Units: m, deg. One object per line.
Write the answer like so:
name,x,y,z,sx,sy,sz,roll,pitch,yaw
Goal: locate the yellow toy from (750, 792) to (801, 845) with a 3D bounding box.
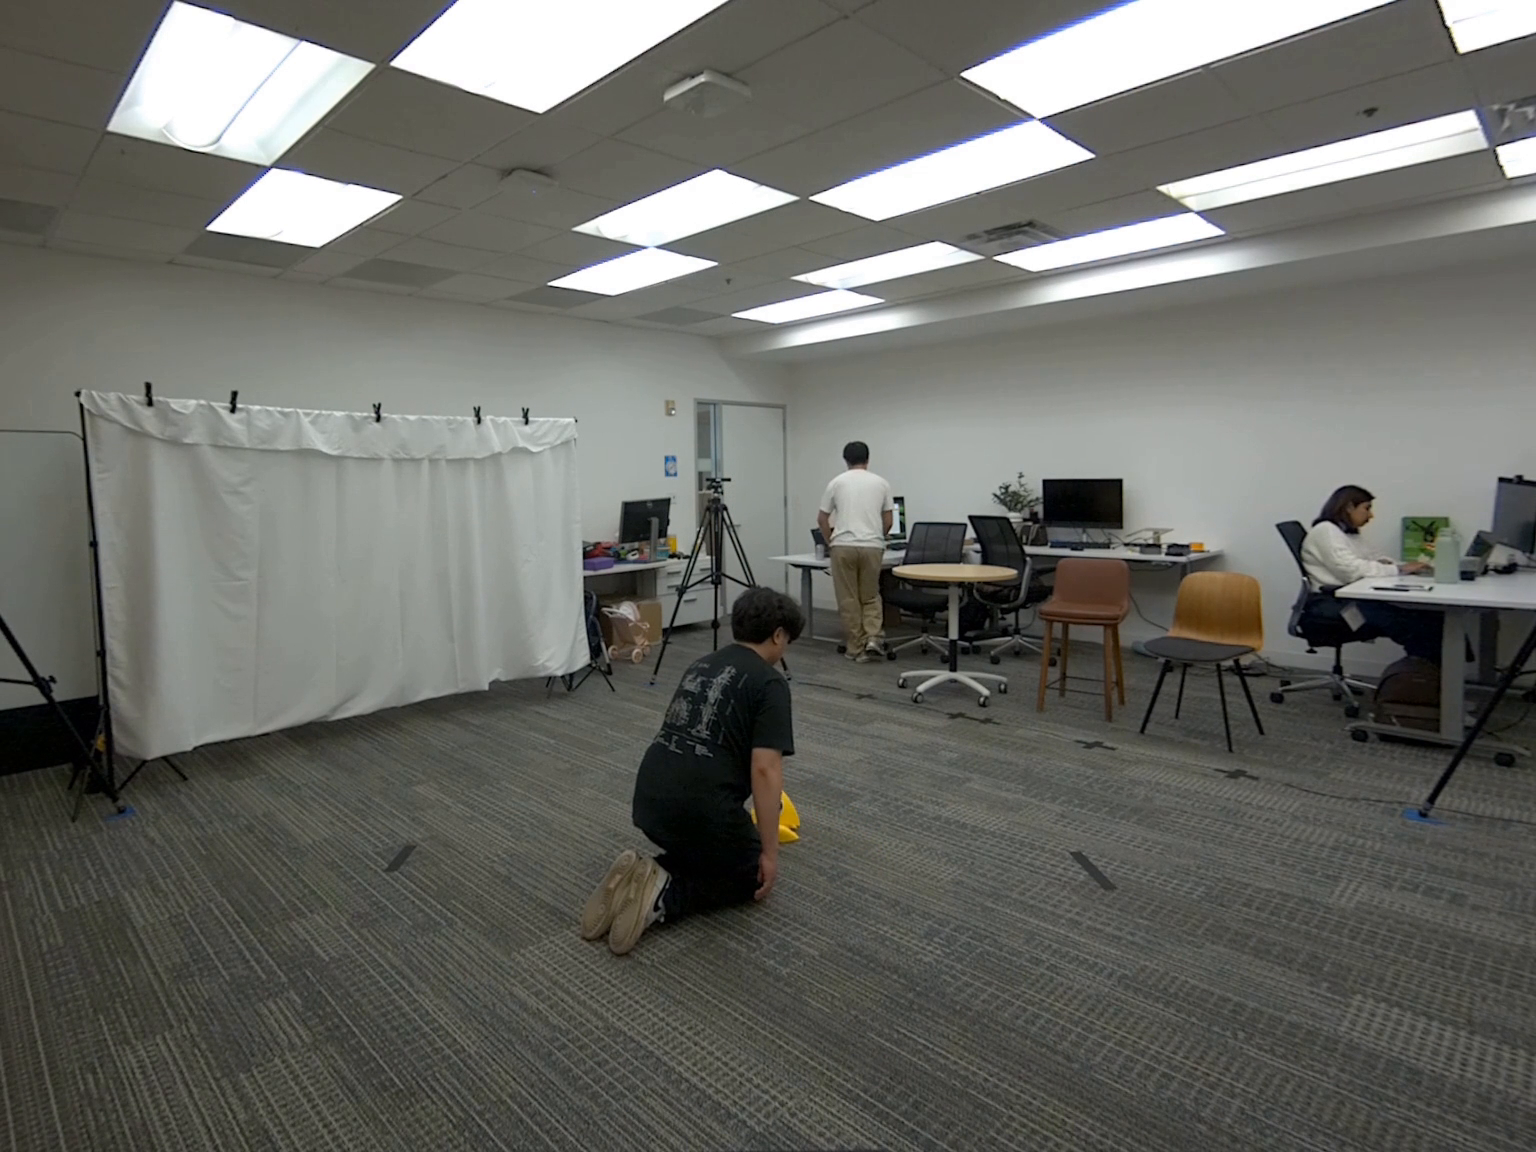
yellow toy,0.033,0.898,3.367,0.194,0.230,0.204,-4,4,7
